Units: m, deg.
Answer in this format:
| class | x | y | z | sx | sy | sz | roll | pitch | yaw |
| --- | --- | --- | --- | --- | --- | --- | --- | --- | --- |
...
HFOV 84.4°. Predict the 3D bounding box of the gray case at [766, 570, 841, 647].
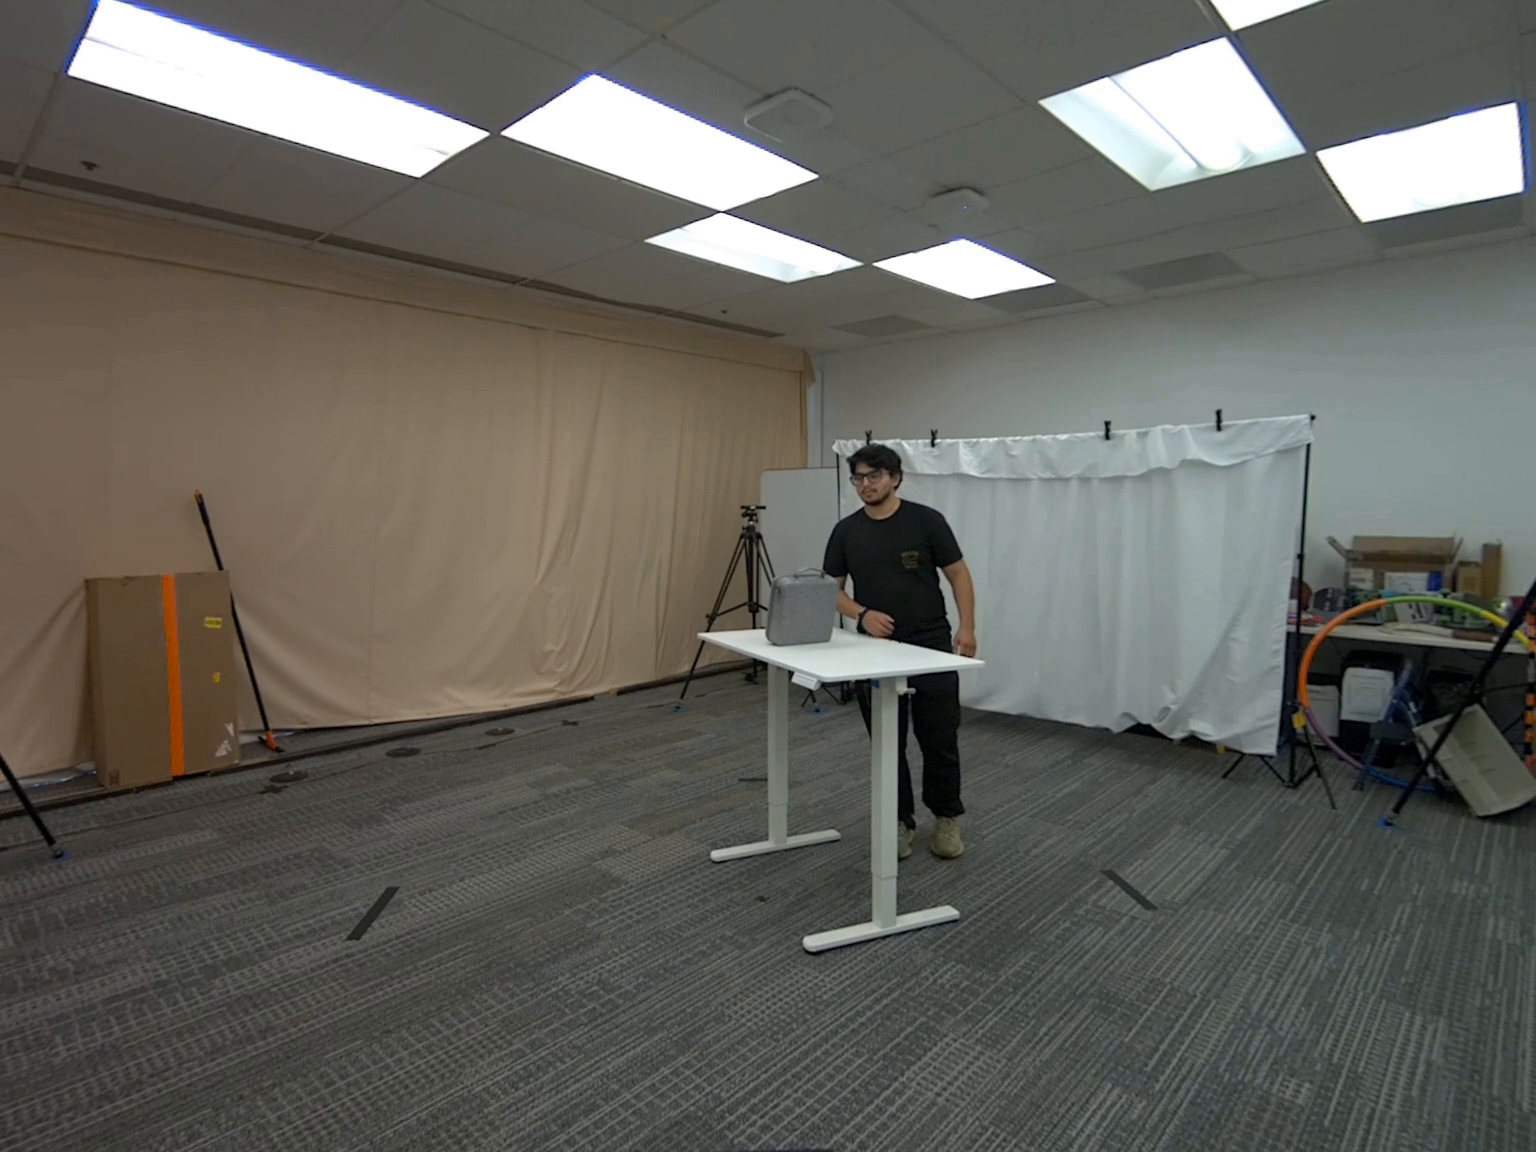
| class | x | y | z | sx | sy | sz | roll | pitch | yaw |
| --- | --- | --- | --- | --- | --- | --- | --- | --- | --- |
| gray case | 0.130 | 0.119 | 3.099 | 0.250 | 0.259 | 0.108 | -1 | 15 | -28 |
